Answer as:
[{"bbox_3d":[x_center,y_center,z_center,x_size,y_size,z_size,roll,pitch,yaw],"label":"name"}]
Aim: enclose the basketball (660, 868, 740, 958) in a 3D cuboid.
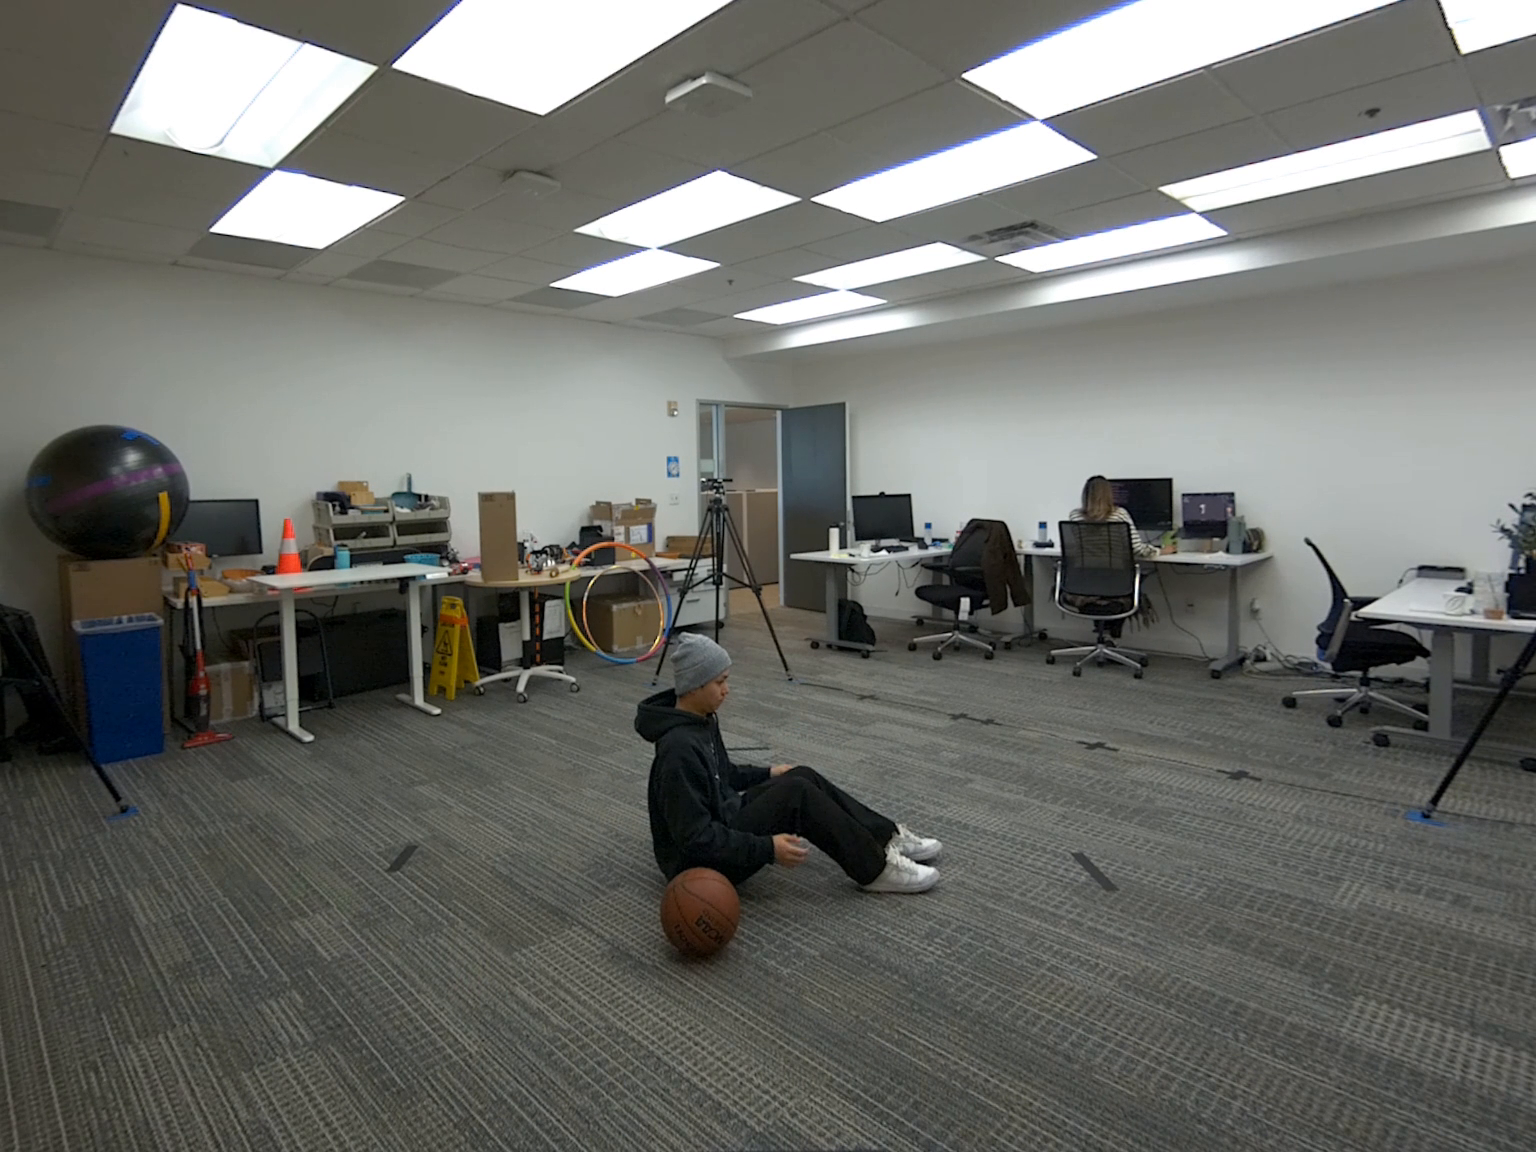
[{"bbox_3d":[-0.200,0.995,2.538,0.236,0.235,0.237,-1,5,-2],"label":"basketball"}]
